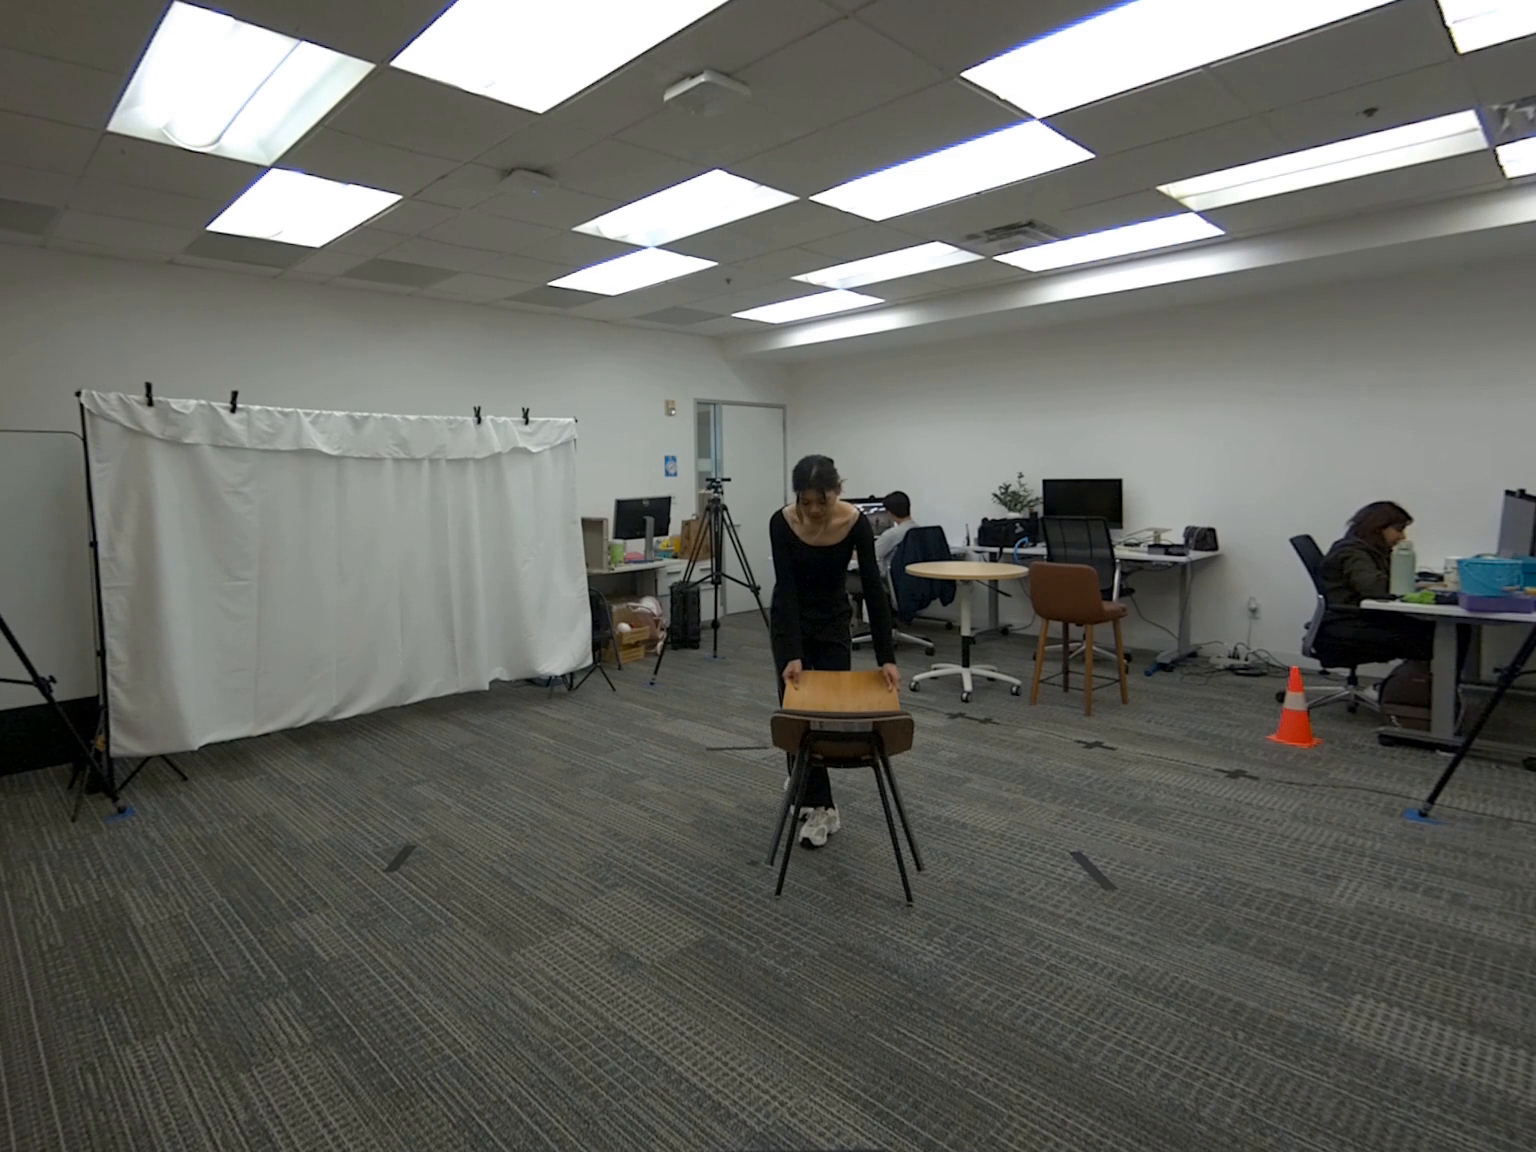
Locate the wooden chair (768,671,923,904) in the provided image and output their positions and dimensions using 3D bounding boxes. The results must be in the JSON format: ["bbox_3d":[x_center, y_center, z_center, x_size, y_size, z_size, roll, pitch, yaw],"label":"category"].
[{"bbox_3d":[0.247,0.587,2.850,0.482,0.898,0.507,-1,-37,7],"label":"wooden chair"}]
